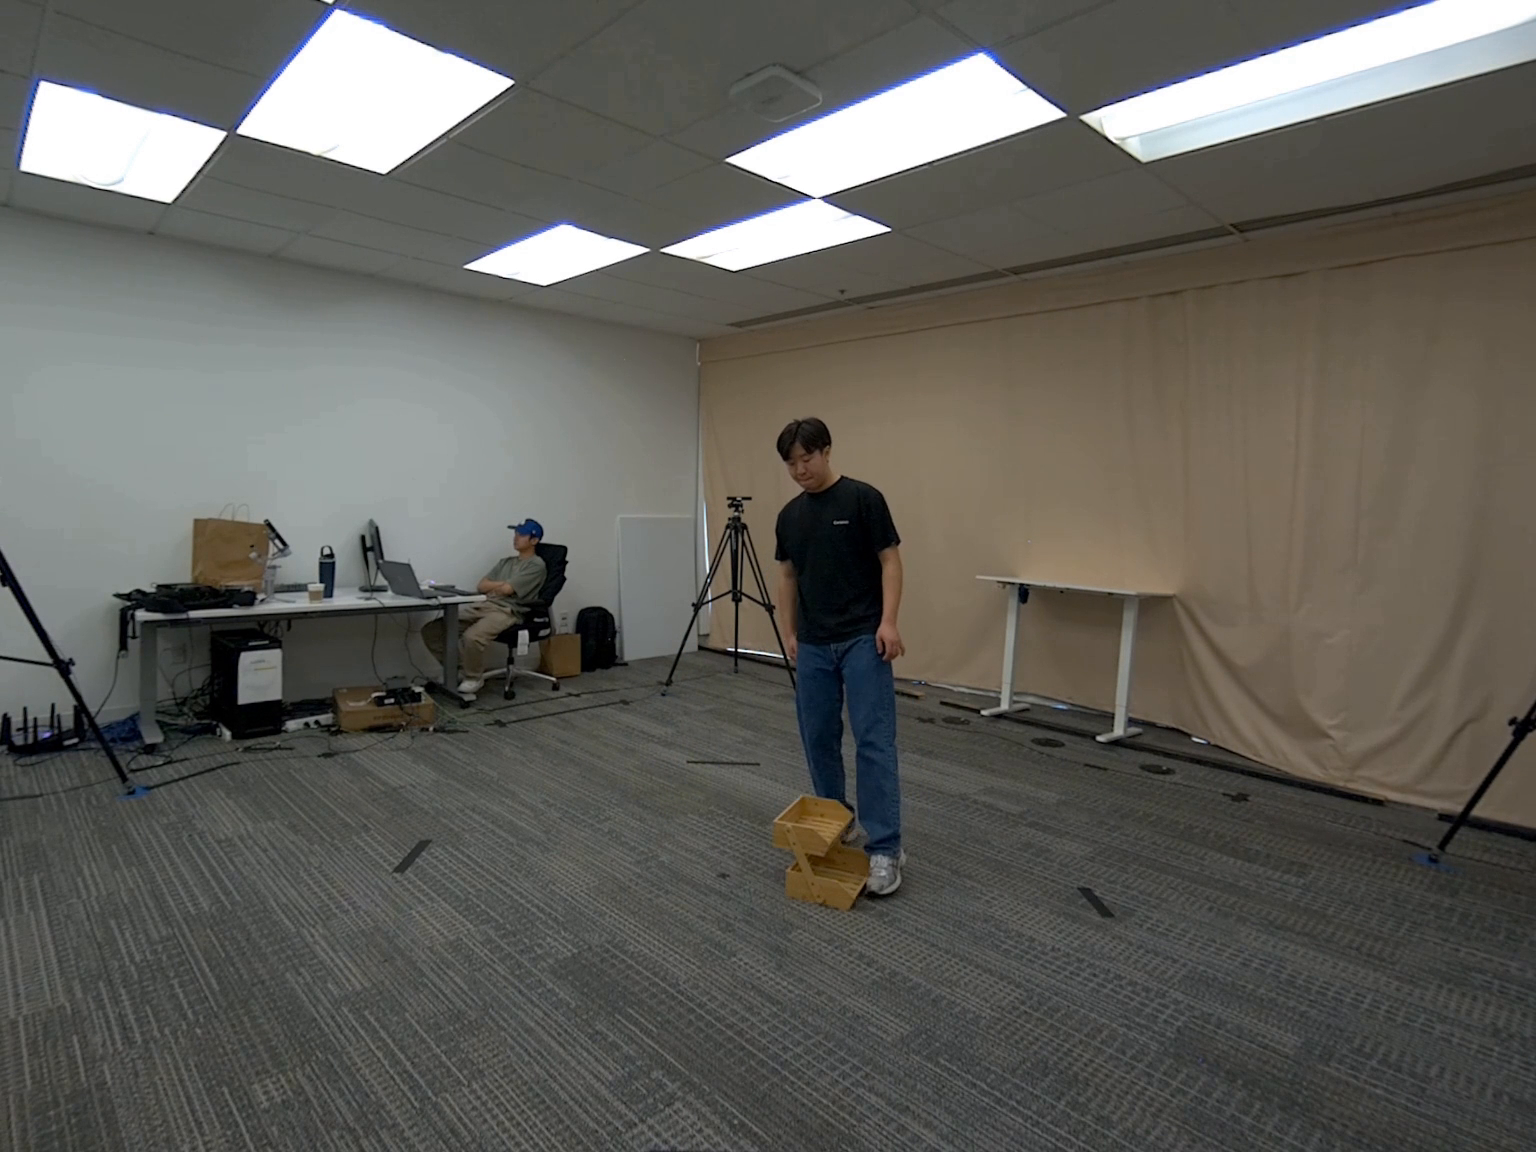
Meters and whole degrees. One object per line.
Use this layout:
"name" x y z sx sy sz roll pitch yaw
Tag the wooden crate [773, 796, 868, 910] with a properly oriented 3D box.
"wooden crate" 0.203 0.988 3.044 0.307 0.272 0.319 3 5 23
